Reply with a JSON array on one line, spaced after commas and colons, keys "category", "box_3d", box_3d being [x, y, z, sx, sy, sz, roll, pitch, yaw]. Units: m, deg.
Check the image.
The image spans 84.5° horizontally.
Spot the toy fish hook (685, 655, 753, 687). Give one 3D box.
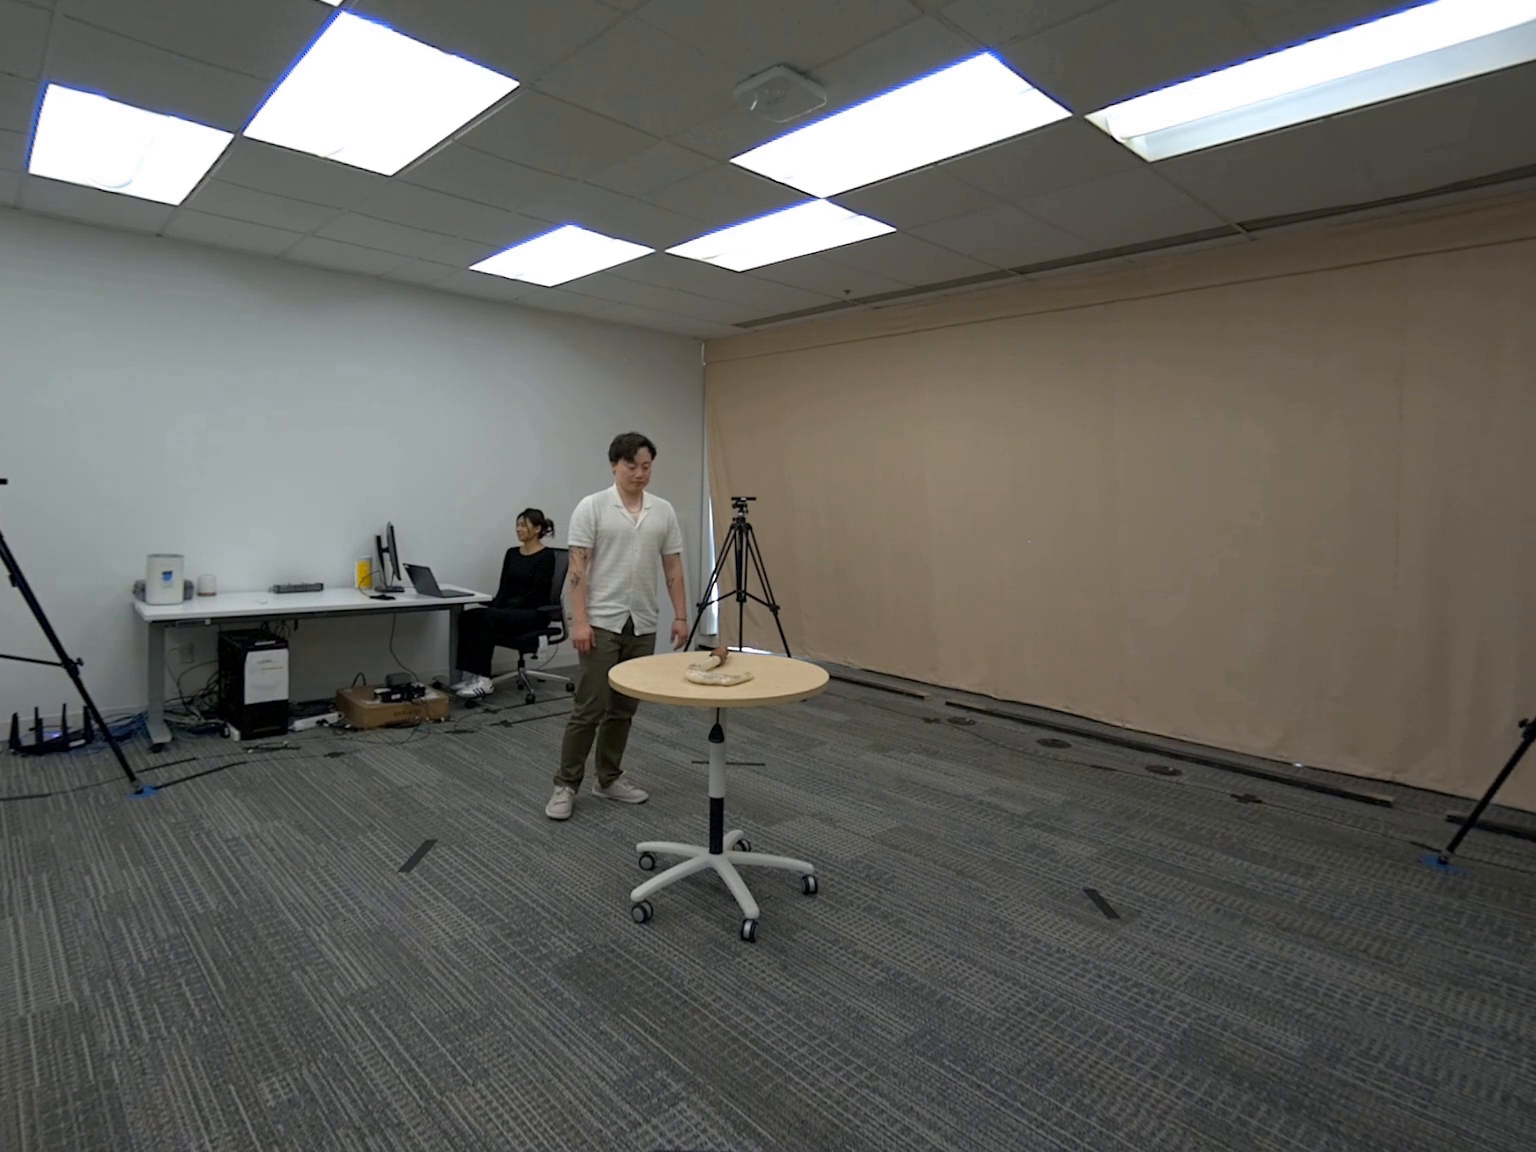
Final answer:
[{"category": "toy fish hook", "box_3d": [-0.149, 0.320, 2.968, 0.226, 0.048, 0.505, 9, 8, 7]}]
